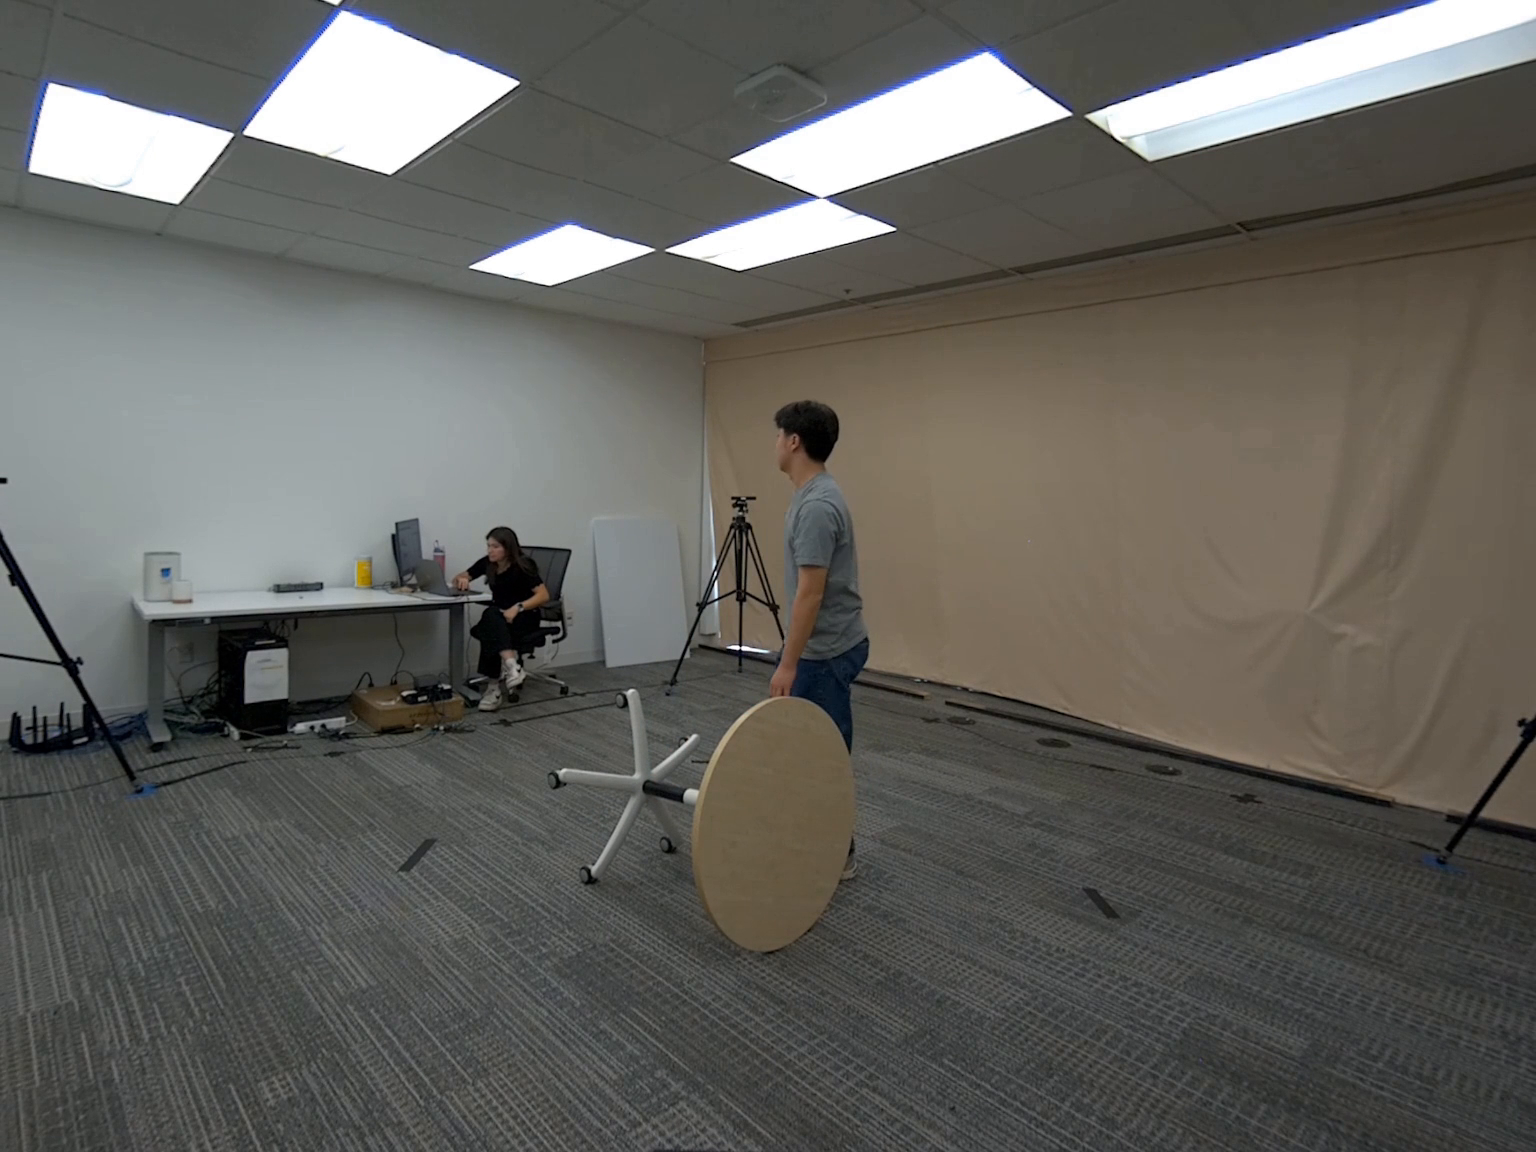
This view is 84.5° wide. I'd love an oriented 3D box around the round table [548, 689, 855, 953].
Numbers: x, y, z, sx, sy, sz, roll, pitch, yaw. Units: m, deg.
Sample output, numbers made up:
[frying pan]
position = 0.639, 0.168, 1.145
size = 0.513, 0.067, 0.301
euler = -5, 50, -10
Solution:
[round table]
position = -0.258, 0.779, 2.905
size = 0.812, 0.764, 0.747
euler = -3, 0, 42
